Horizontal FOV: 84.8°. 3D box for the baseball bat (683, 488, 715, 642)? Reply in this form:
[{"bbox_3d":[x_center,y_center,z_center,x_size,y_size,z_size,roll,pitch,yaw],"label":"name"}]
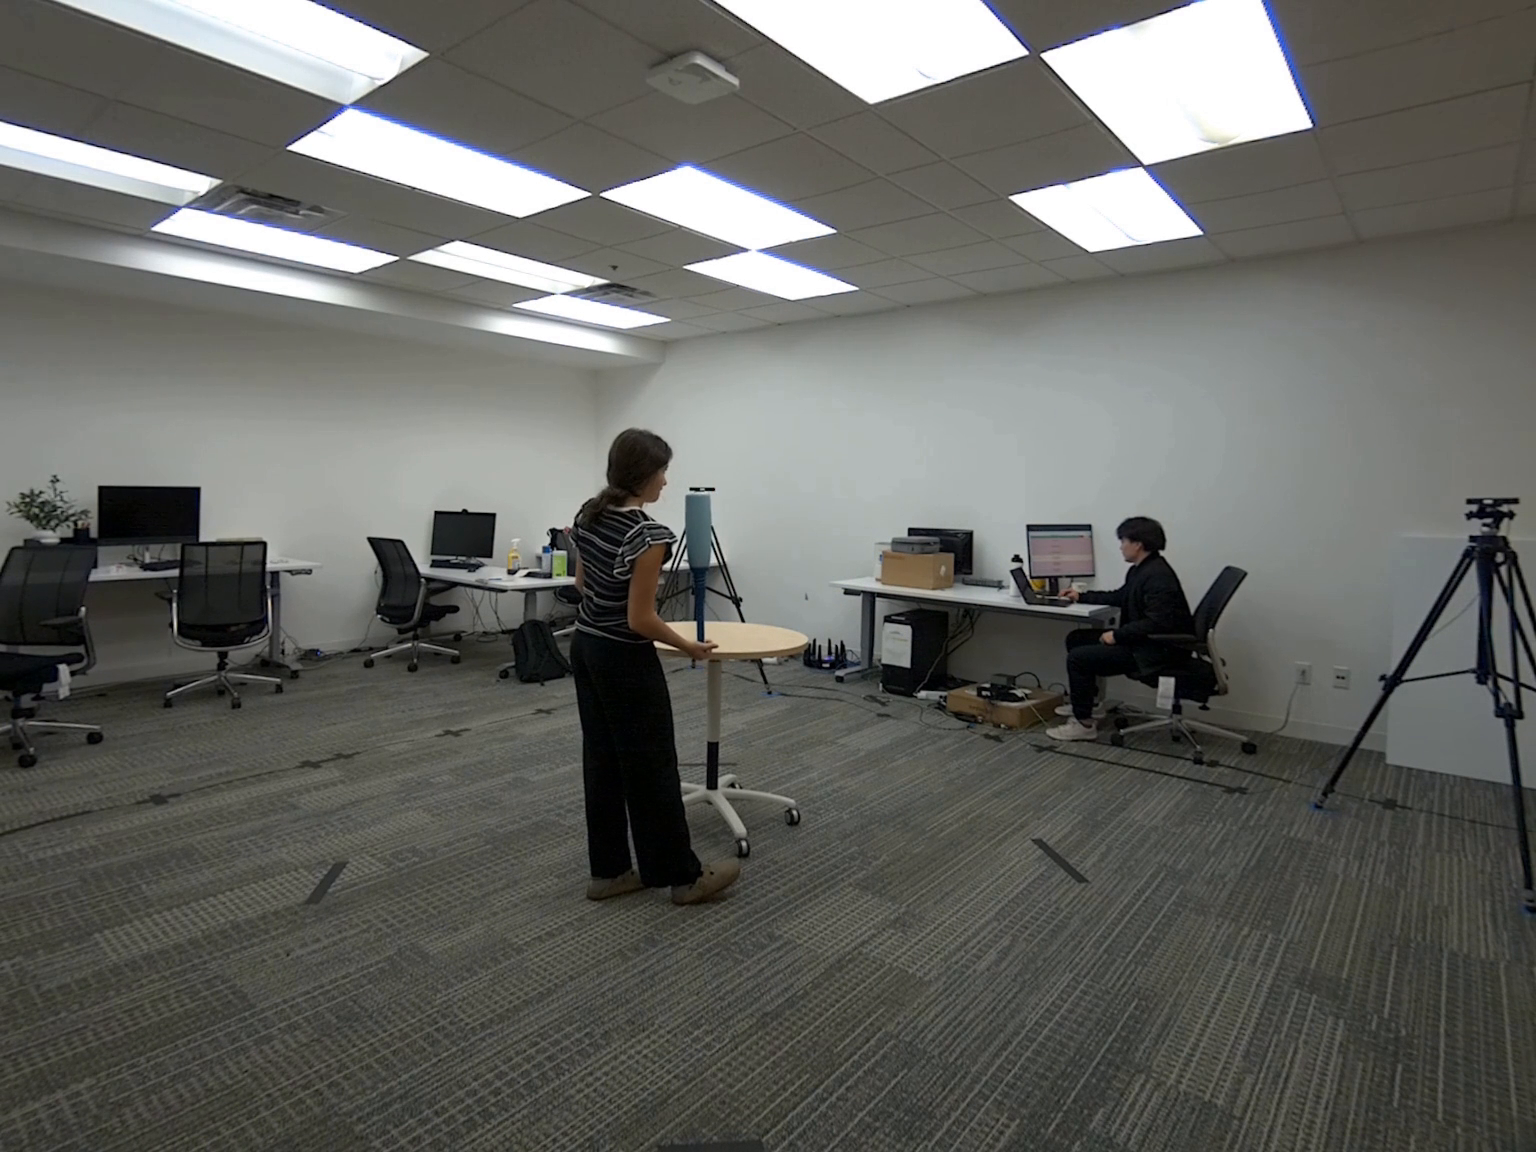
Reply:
[{"bbox_3d":[-0.244,-0.013,2.879,0.089,0.540,0.089,-2,5,-2],"label":"baseball bat"}]
